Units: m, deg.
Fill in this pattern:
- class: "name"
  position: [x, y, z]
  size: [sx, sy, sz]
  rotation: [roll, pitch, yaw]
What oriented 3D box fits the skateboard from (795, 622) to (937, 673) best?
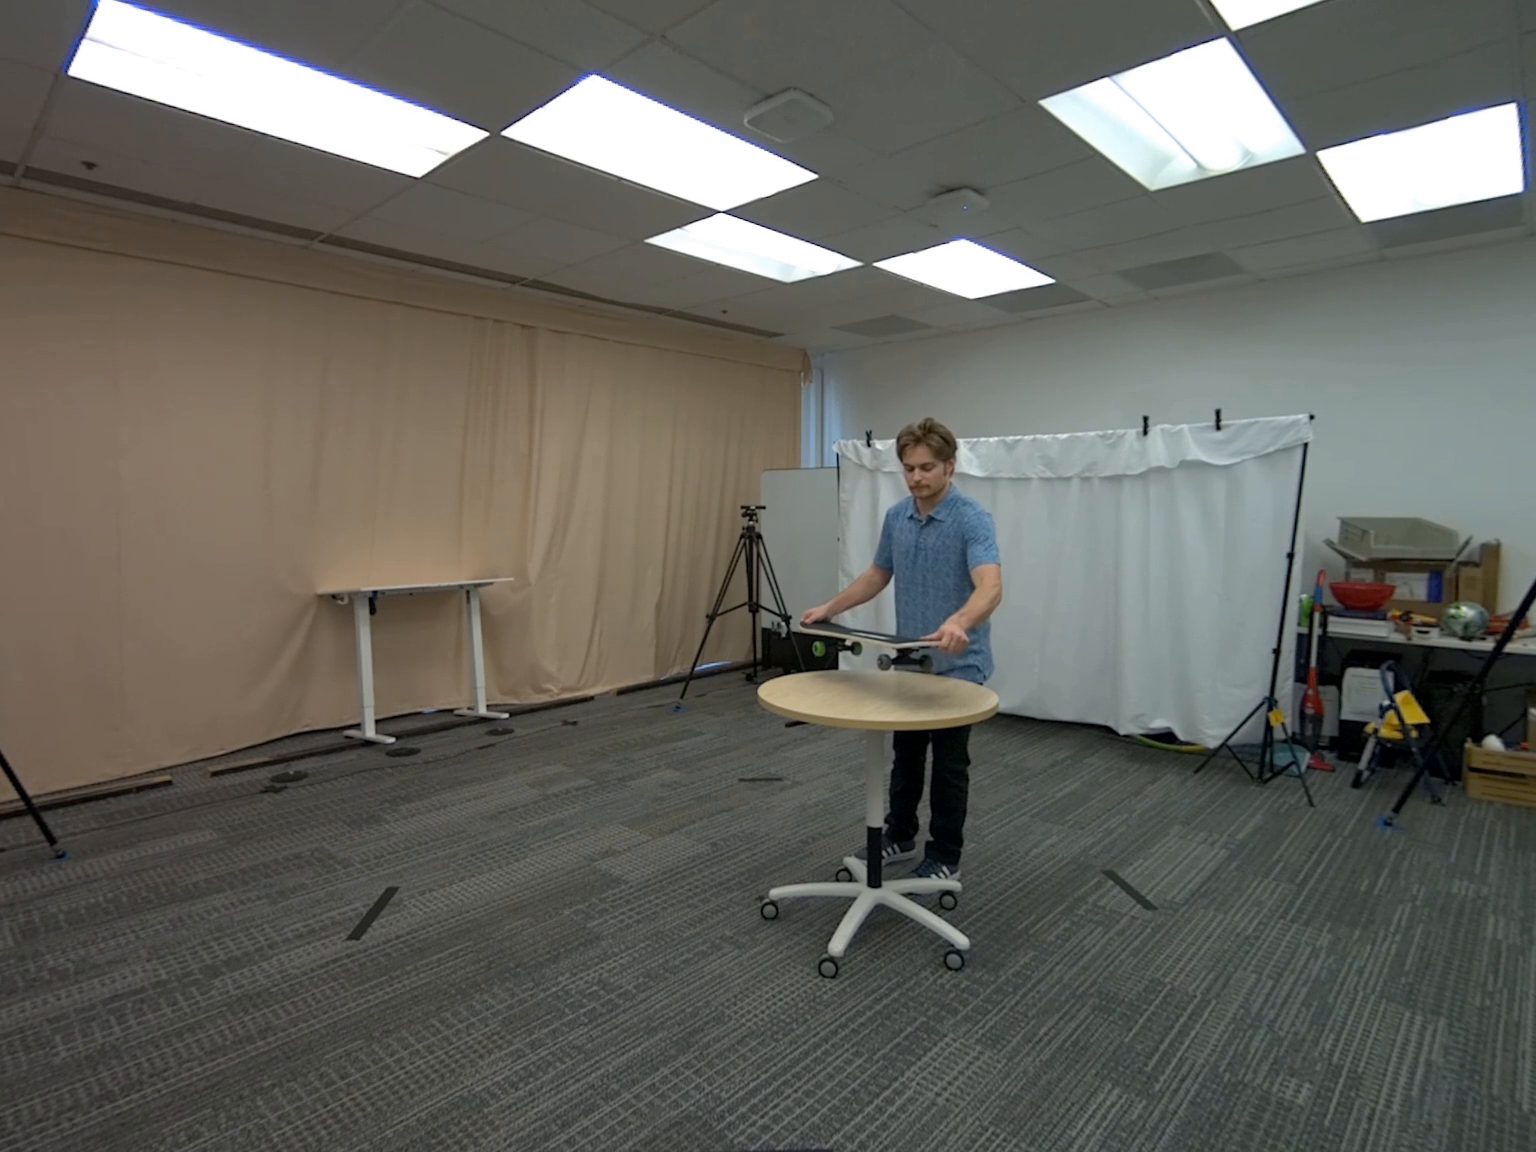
- class: "skateboard"
  position: [0.349, 0.236, 2.772]
  size: [0.189, 0.110, 0.805]
  rotation: [4, 0, -25]
